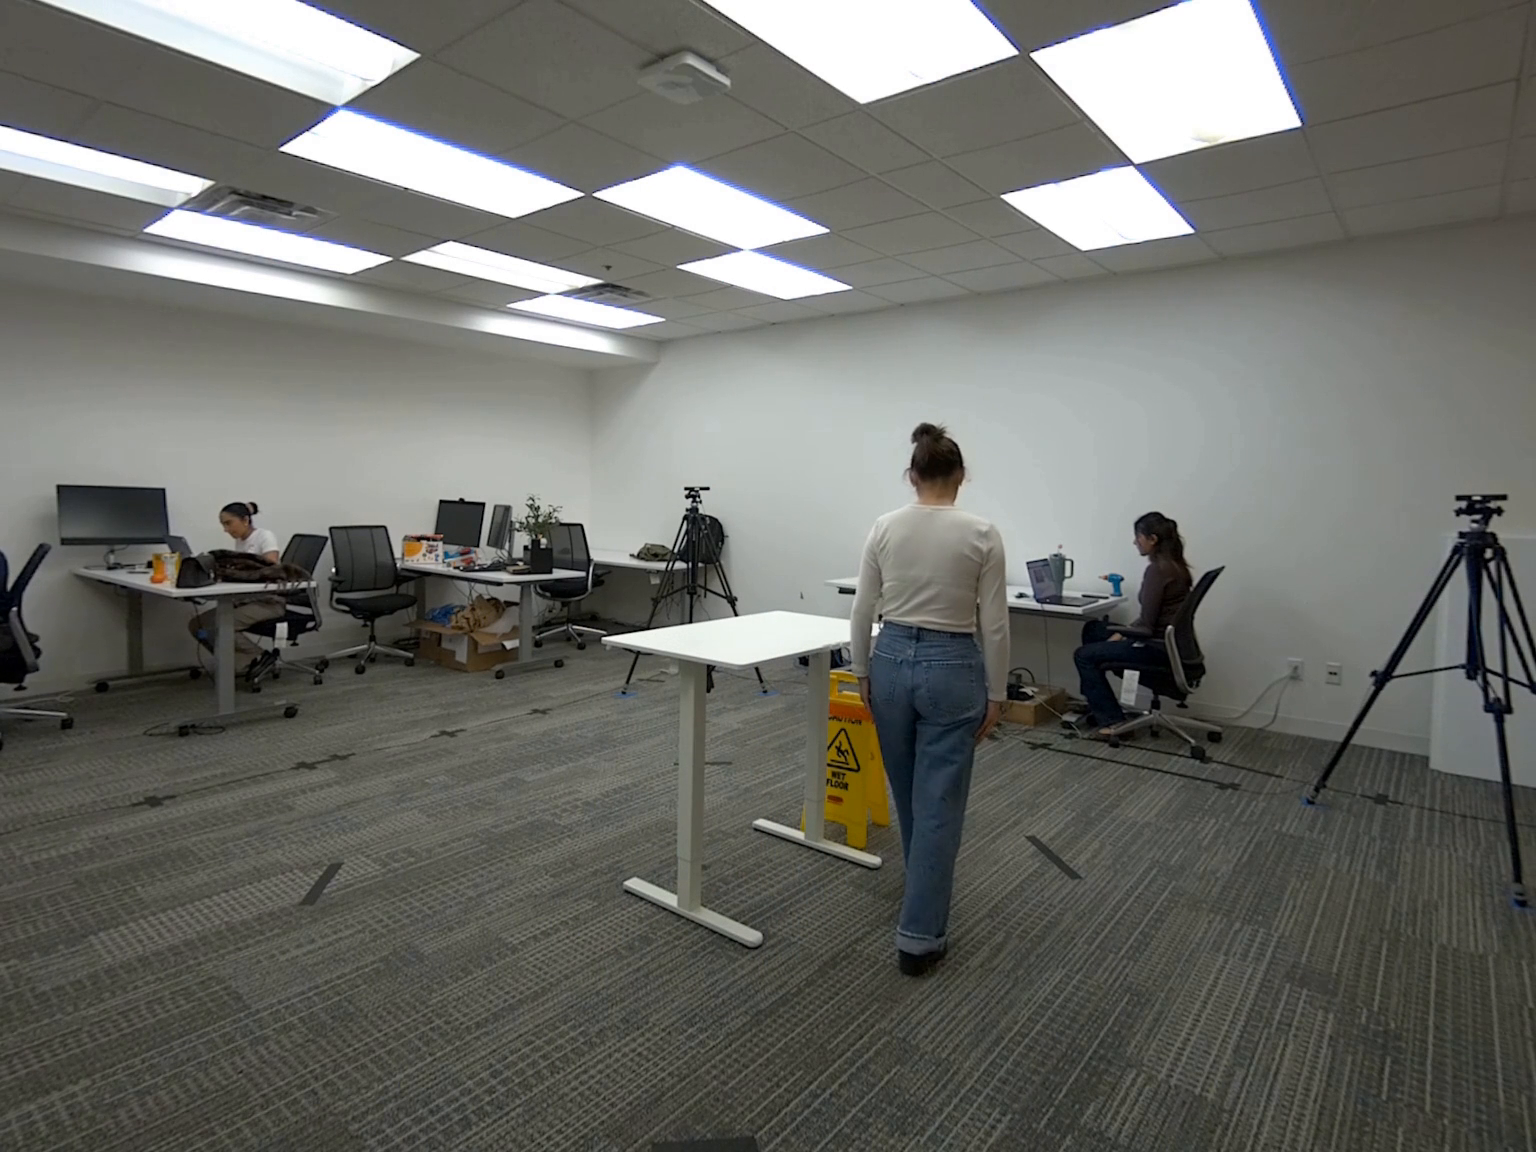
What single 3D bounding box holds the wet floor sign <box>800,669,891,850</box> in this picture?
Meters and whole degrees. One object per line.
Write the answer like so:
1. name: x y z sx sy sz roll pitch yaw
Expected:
1. wet floor sign: 0.321 0.714 3.476 0.291 0.644 0.282 4 4 30
